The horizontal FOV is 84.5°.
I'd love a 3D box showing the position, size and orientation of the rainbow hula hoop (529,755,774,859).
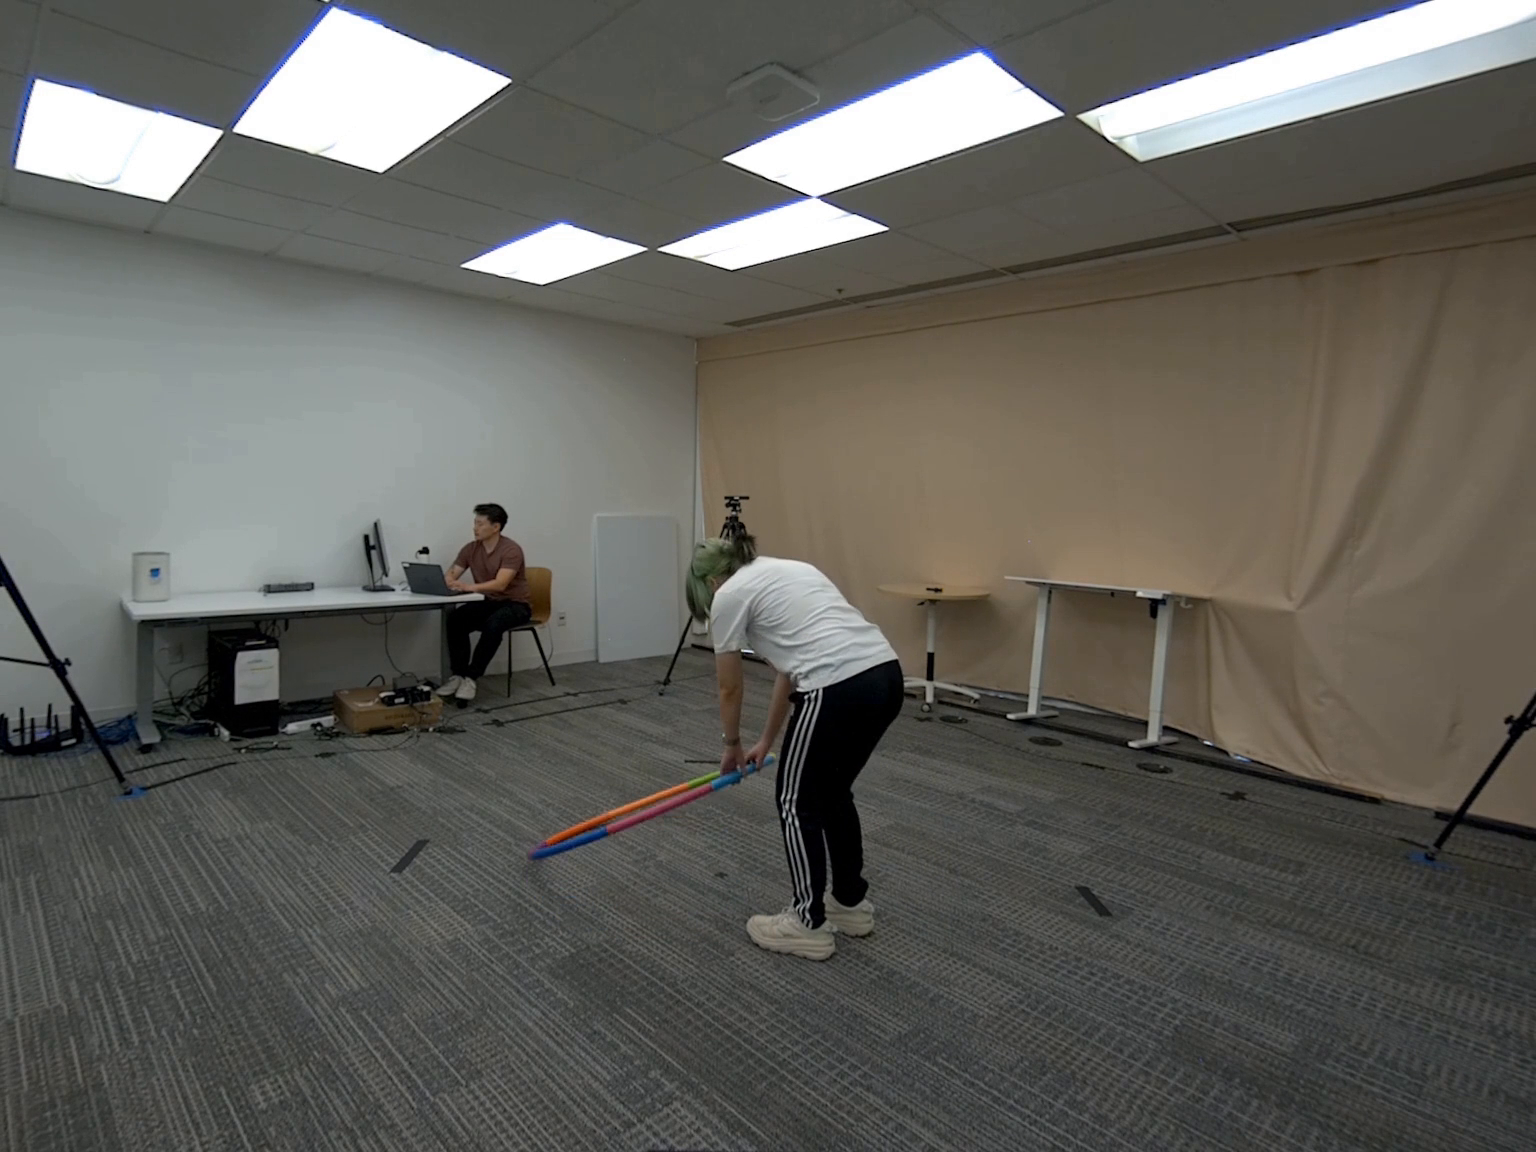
[{"bbox_3d":[-0.439,0.864,3.176,0.976,0.036,0.970,-20,-9,-5],"label":"rainbow hula hoop"}]
